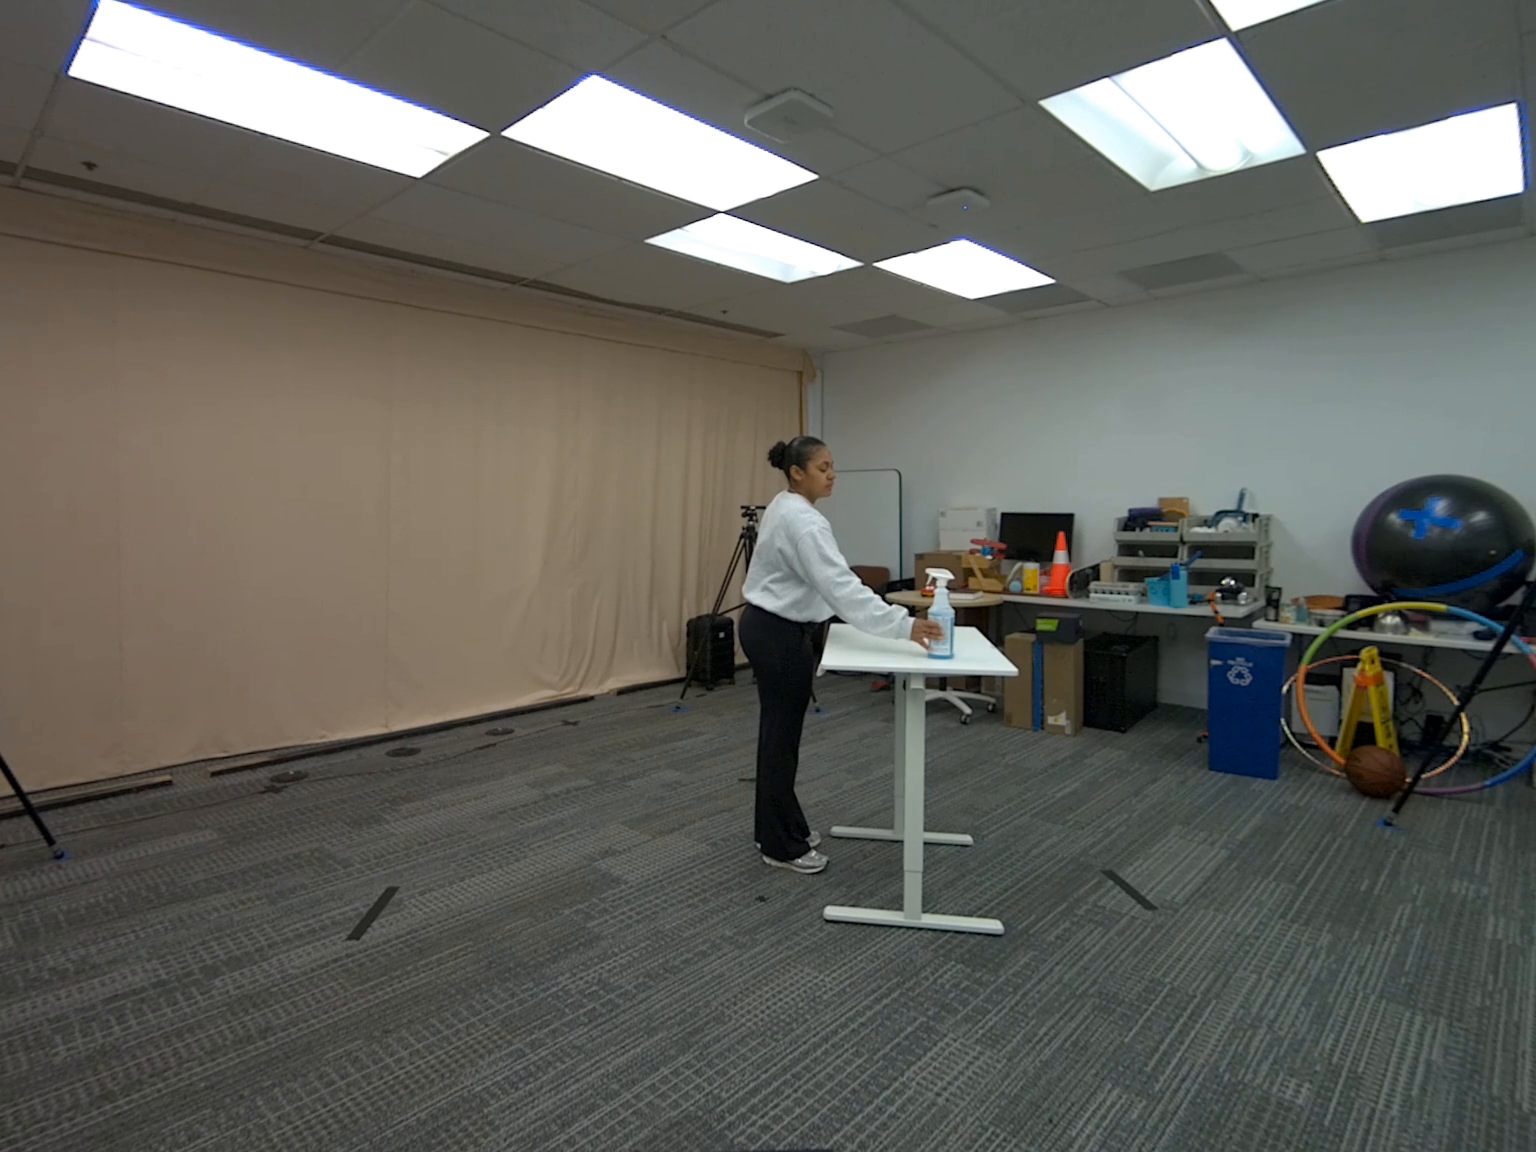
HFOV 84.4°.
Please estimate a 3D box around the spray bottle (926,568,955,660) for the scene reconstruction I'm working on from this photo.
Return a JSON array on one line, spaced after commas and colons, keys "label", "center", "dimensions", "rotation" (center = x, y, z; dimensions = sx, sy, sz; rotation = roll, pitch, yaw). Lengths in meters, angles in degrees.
[{"label": "spray bottle", "center": [0.585, 0.128, 2.805], "dimensions": [0.084, 0.297, 0.093], "rotation": [-1, 1, -43]}]
